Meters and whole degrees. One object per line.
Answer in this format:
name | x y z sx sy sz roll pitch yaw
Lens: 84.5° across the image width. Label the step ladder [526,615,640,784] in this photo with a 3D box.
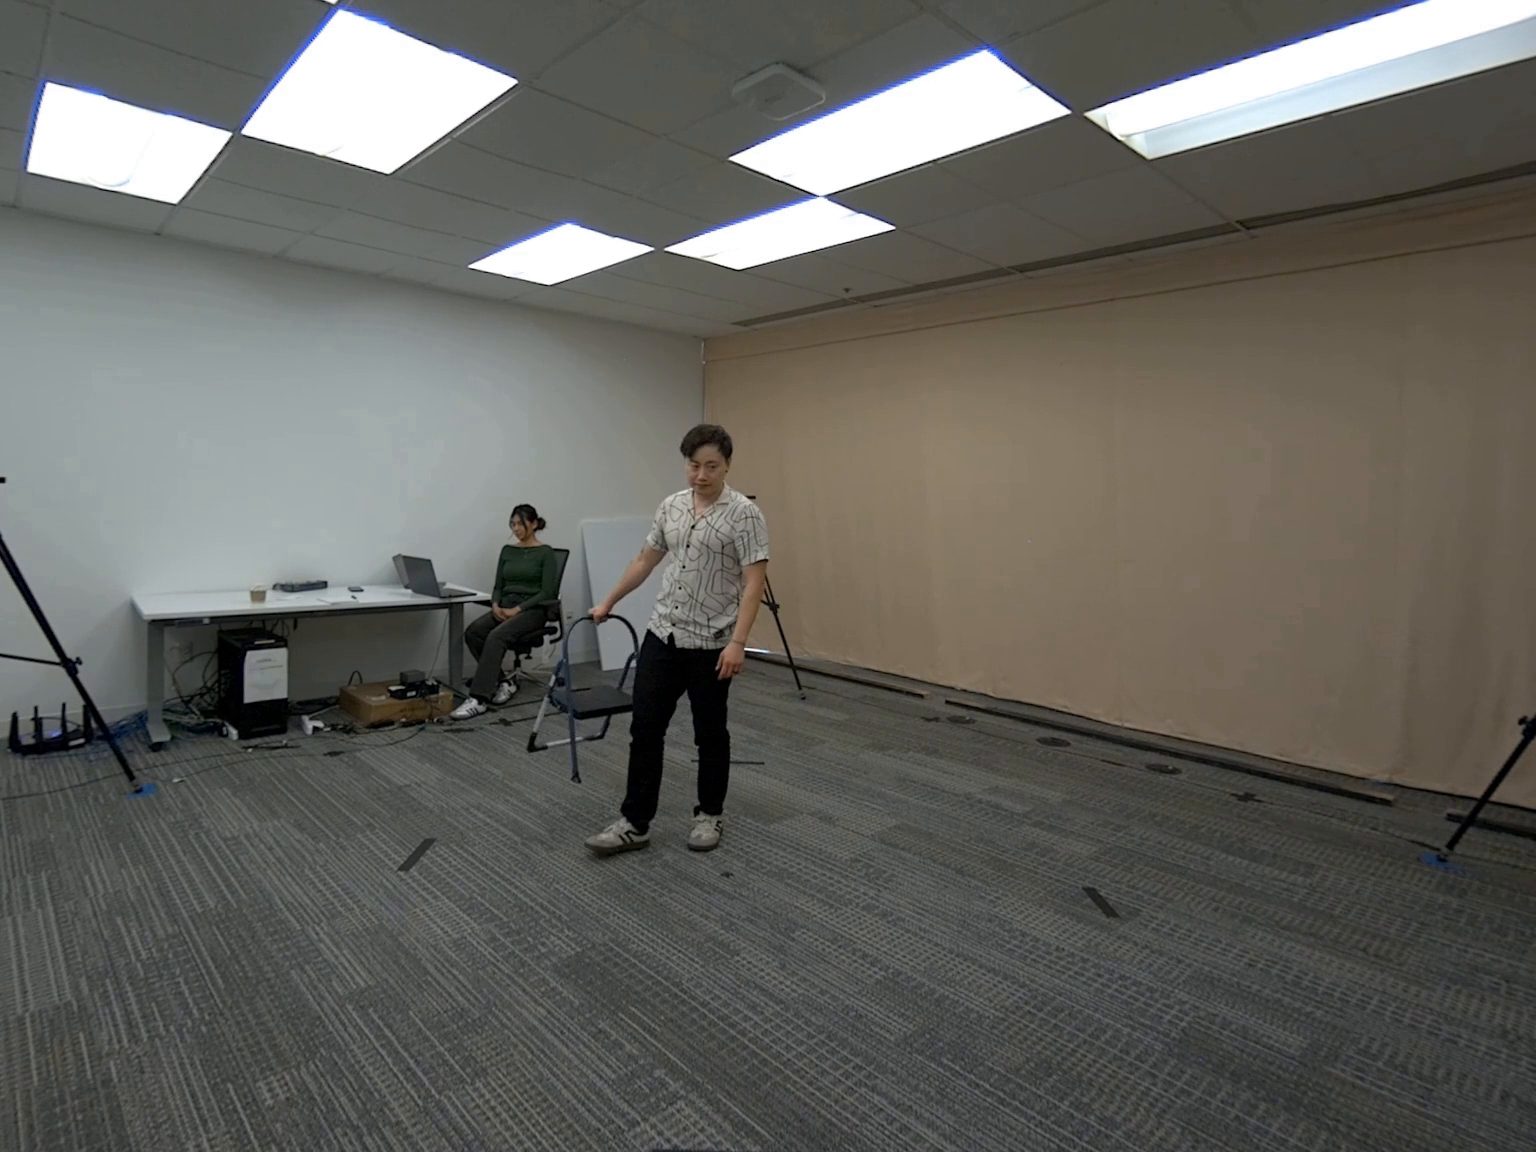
step ladder | -0.704 0.482 3.524 0.359 0.603 0.420 16 9 37
